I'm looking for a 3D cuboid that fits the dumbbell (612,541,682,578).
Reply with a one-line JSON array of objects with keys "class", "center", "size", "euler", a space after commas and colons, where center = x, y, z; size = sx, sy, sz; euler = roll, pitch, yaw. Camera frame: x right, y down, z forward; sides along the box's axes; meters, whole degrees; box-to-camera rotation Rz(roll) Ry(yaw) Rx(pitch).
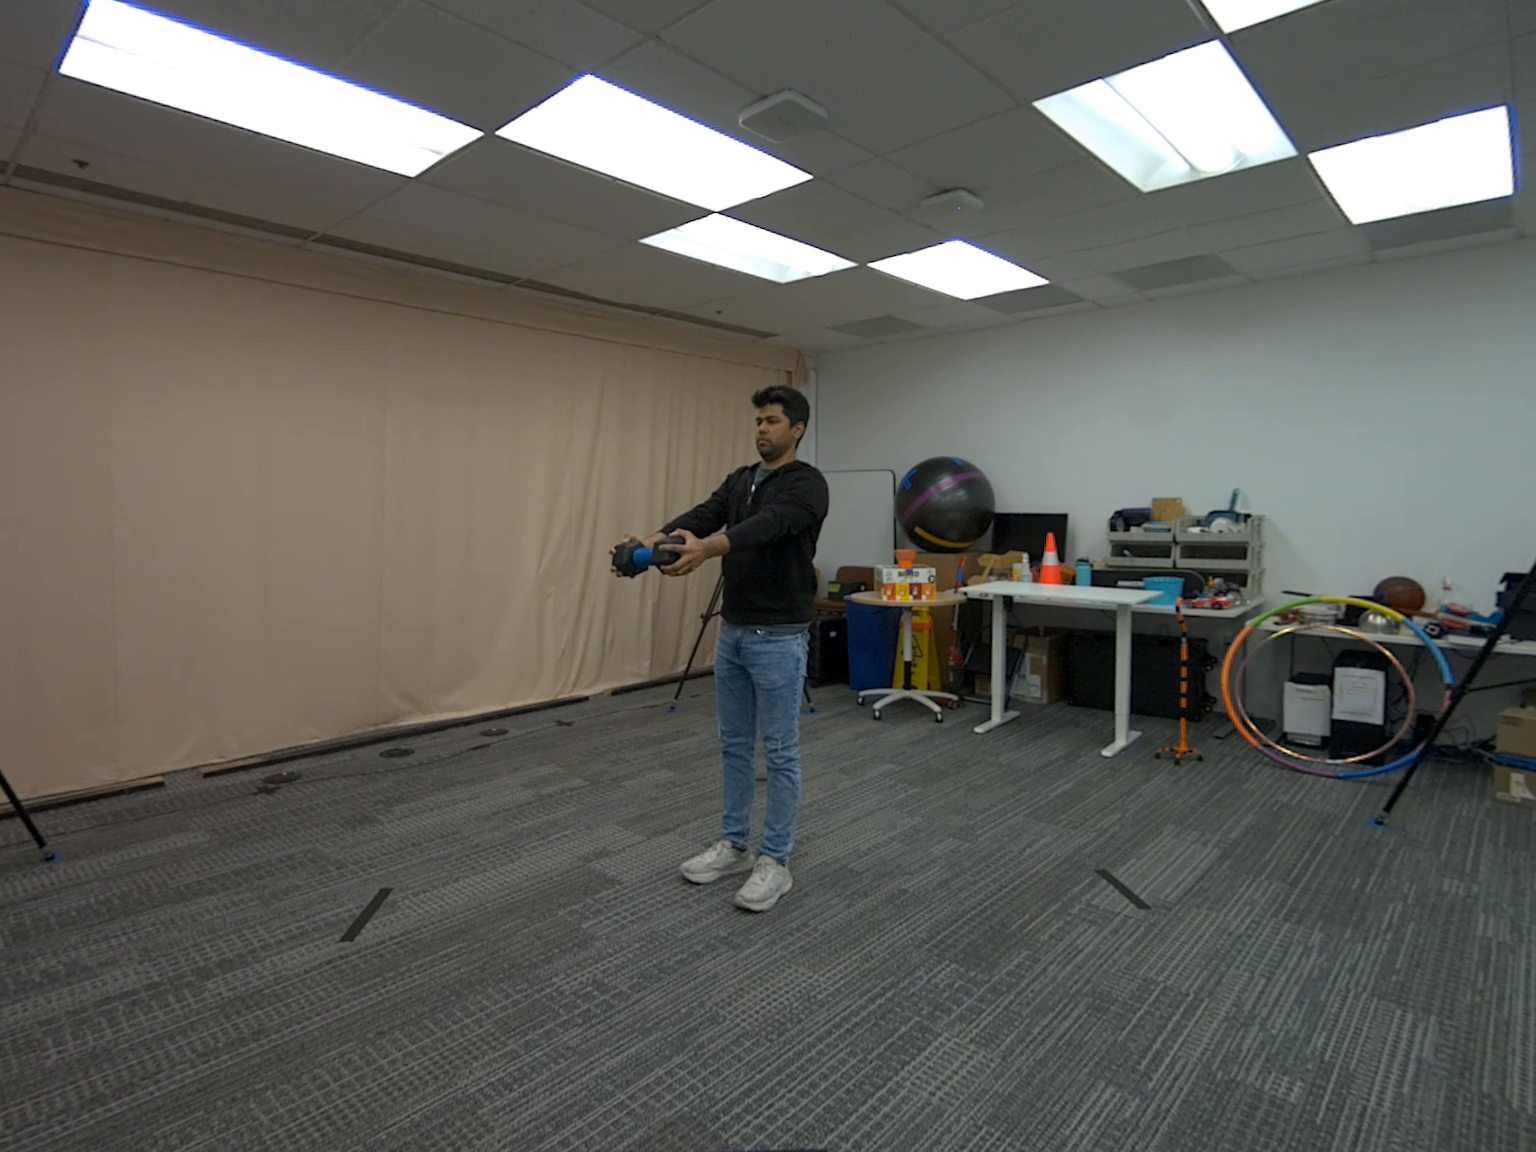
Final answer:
[{"class": "dumbbell", "center": [-0.368, -0.076, 2.697], "size": [0.303, 0.109, 0.119], "euler": [-1, -37, 46]}]
